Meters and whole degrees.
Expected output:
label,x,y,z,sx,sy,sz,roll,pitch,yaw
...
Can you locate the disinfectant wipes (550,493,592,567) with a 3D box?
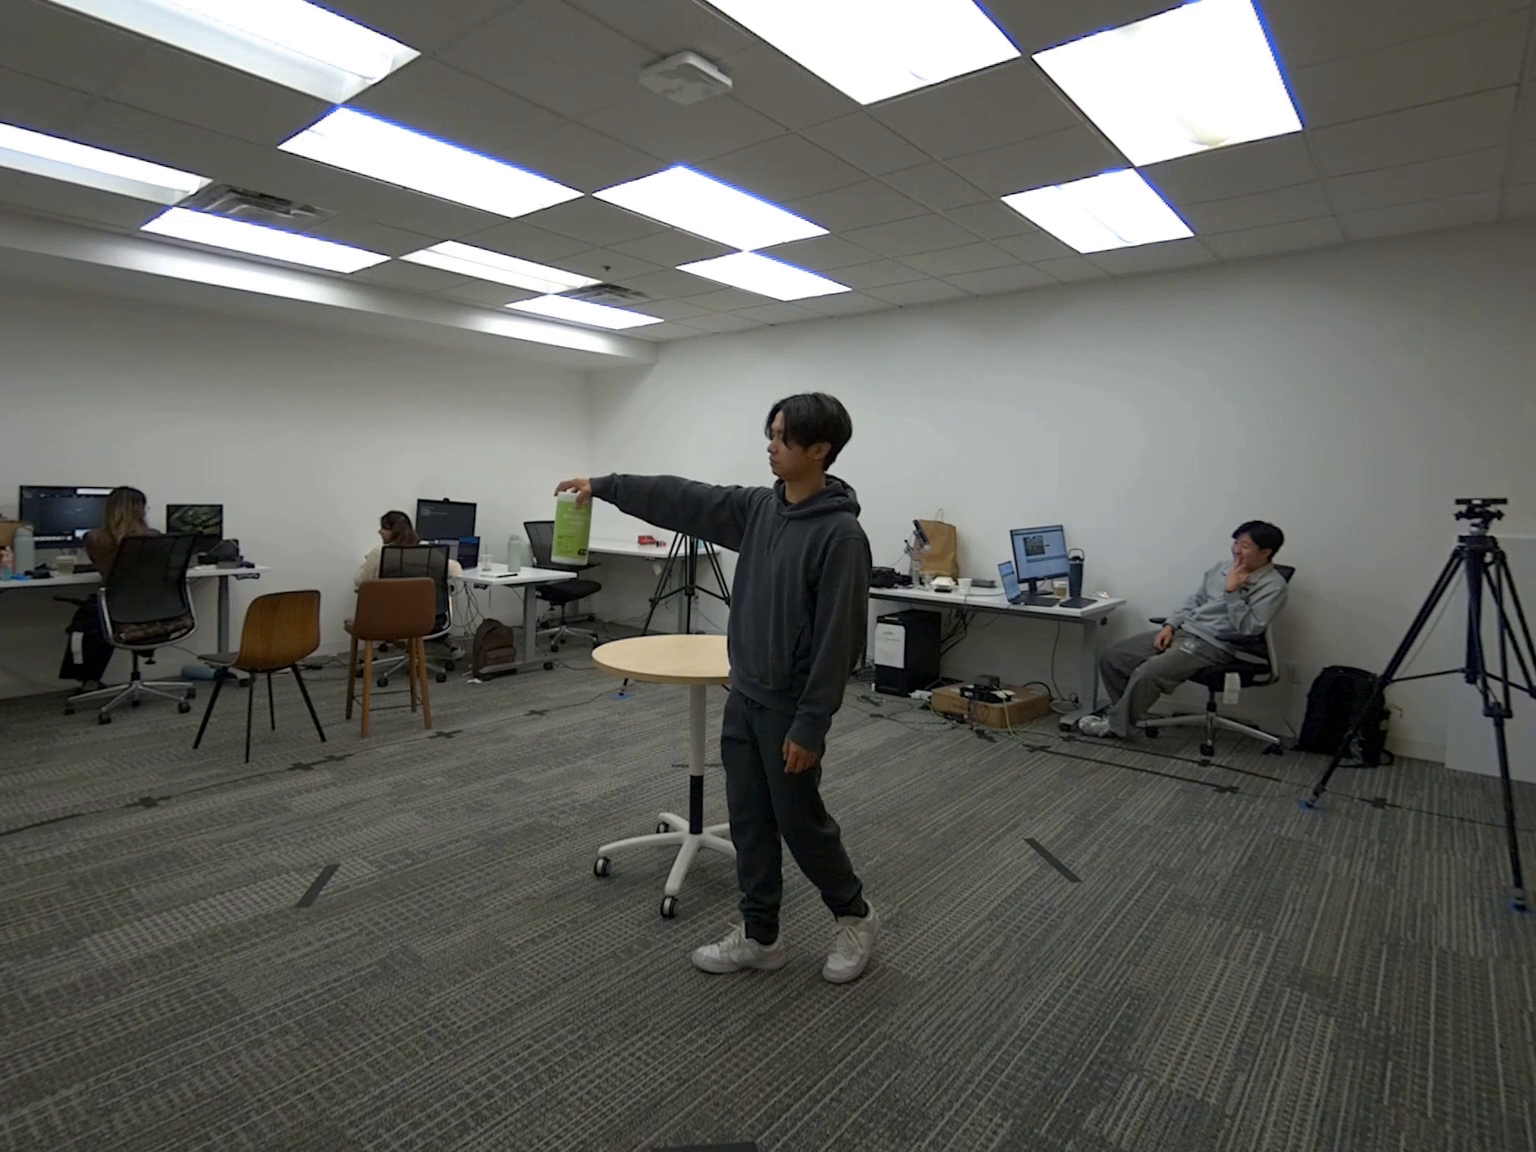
label,x,y,z,sx,sy,sz,roll,pitch,yaw
disinfectant wipes,-0.605,-0.142,2.594,0.117,0.217,0.118,6,1,-2
